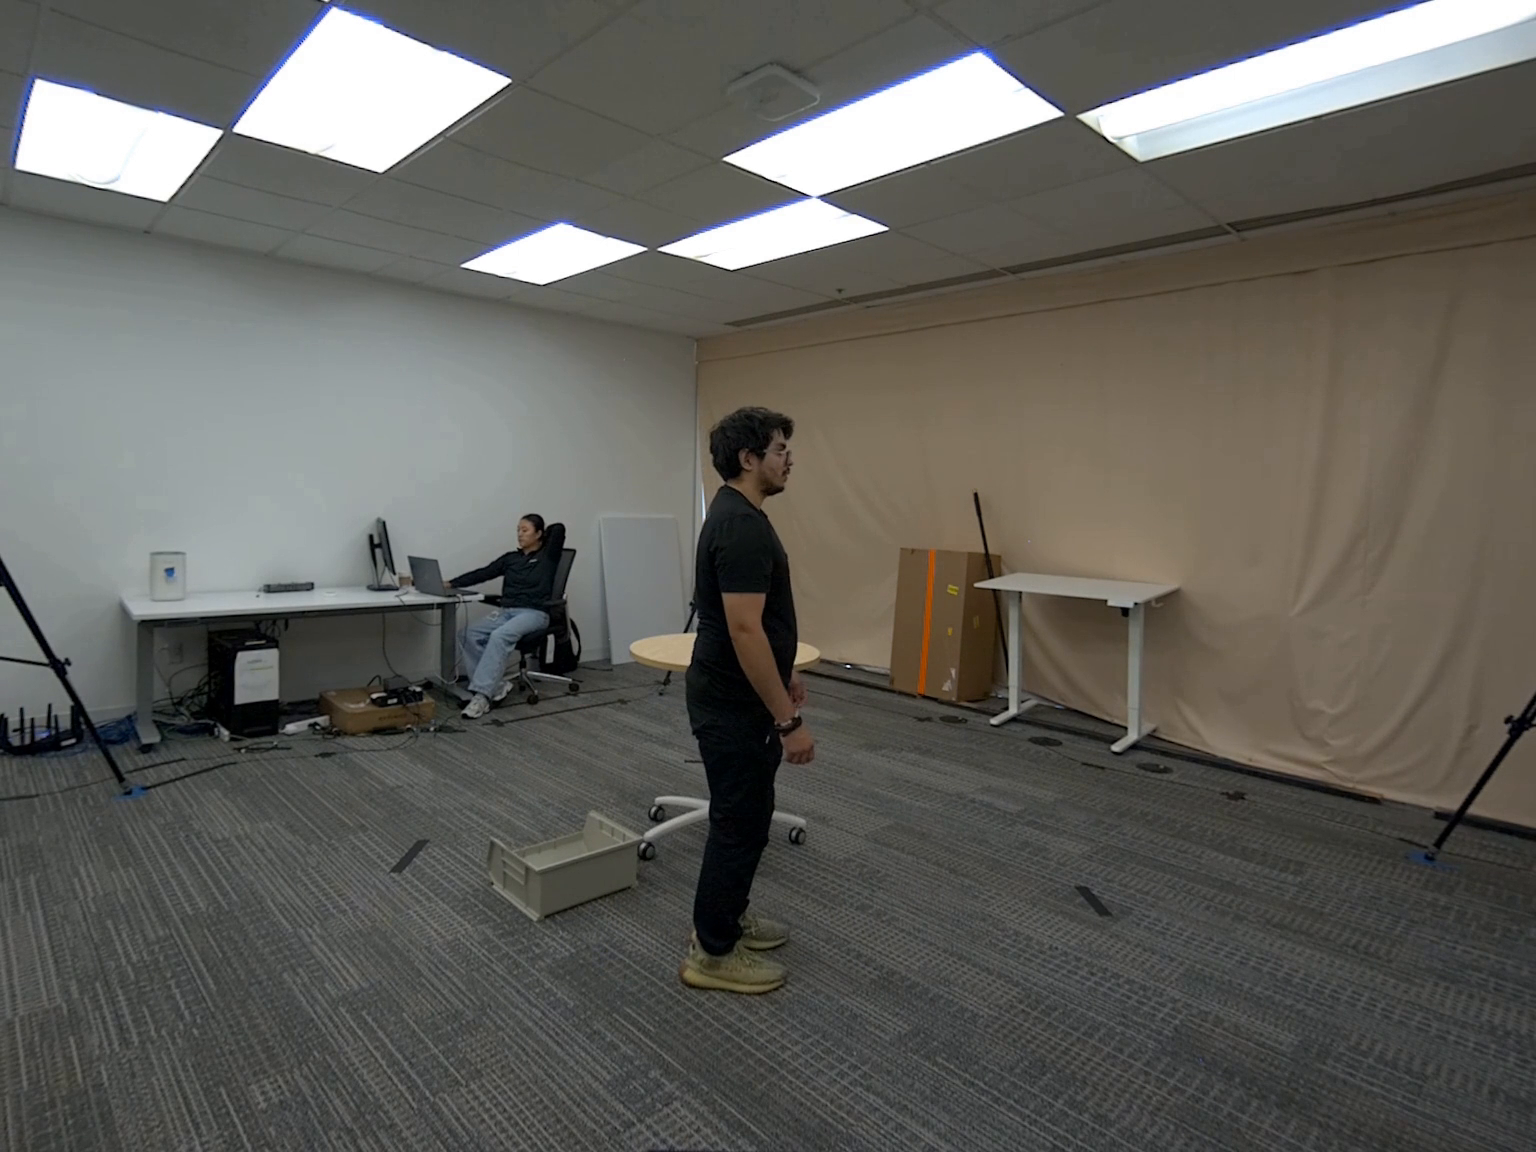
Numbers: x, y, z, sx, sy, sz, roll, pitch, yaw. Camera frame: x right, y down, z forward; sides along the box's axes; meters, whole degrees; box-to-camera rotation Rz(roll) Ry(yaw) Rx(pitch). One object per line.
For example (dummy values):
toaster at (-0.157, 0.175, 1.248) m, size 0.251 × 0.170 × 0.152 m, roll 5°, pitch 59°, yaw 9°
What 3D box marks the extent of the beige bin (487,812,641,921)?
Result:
beige bin at (-0.729, 1.008, 2.997) m, size 0.412 × 0.188 × 0.387 m, roll -2°, pitch 7°, yaw -43°
